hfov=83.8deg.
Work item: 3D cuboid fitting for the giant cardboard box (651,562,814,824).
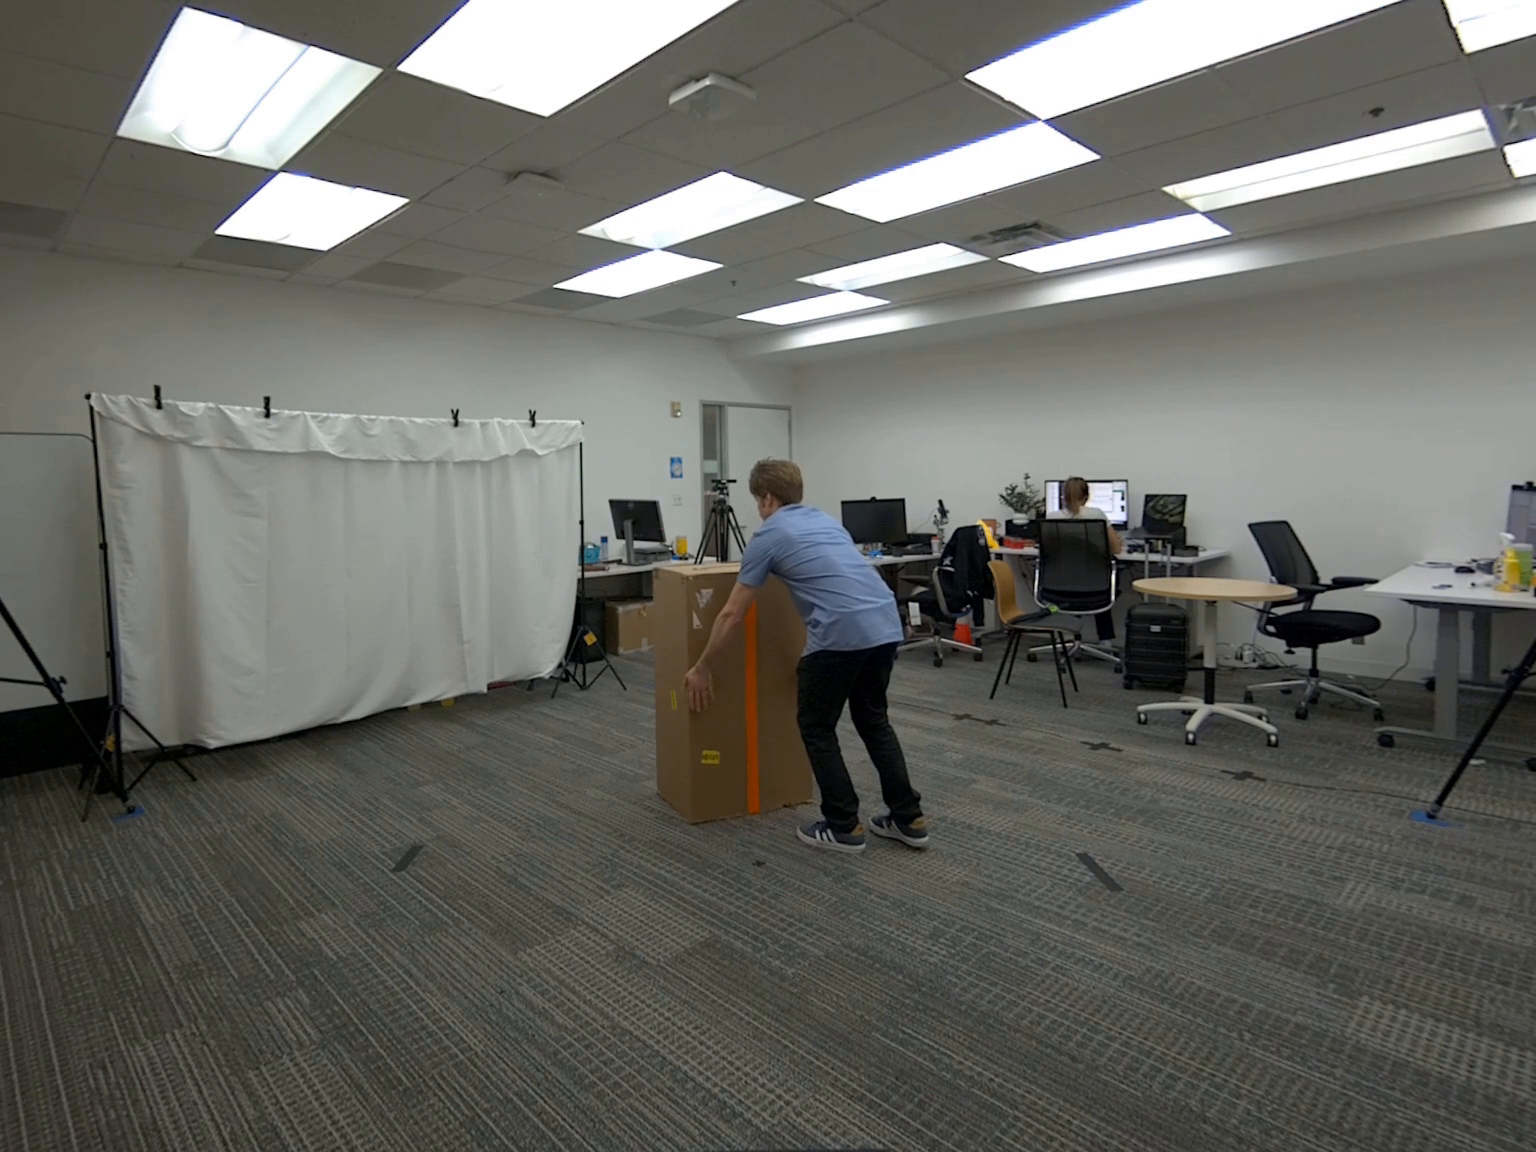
[{"bbox_3d":[-0.160,0.469,3.746,0.565,1.022,0.437,-2,4,-26],"label":"giant cardboard box"}]
